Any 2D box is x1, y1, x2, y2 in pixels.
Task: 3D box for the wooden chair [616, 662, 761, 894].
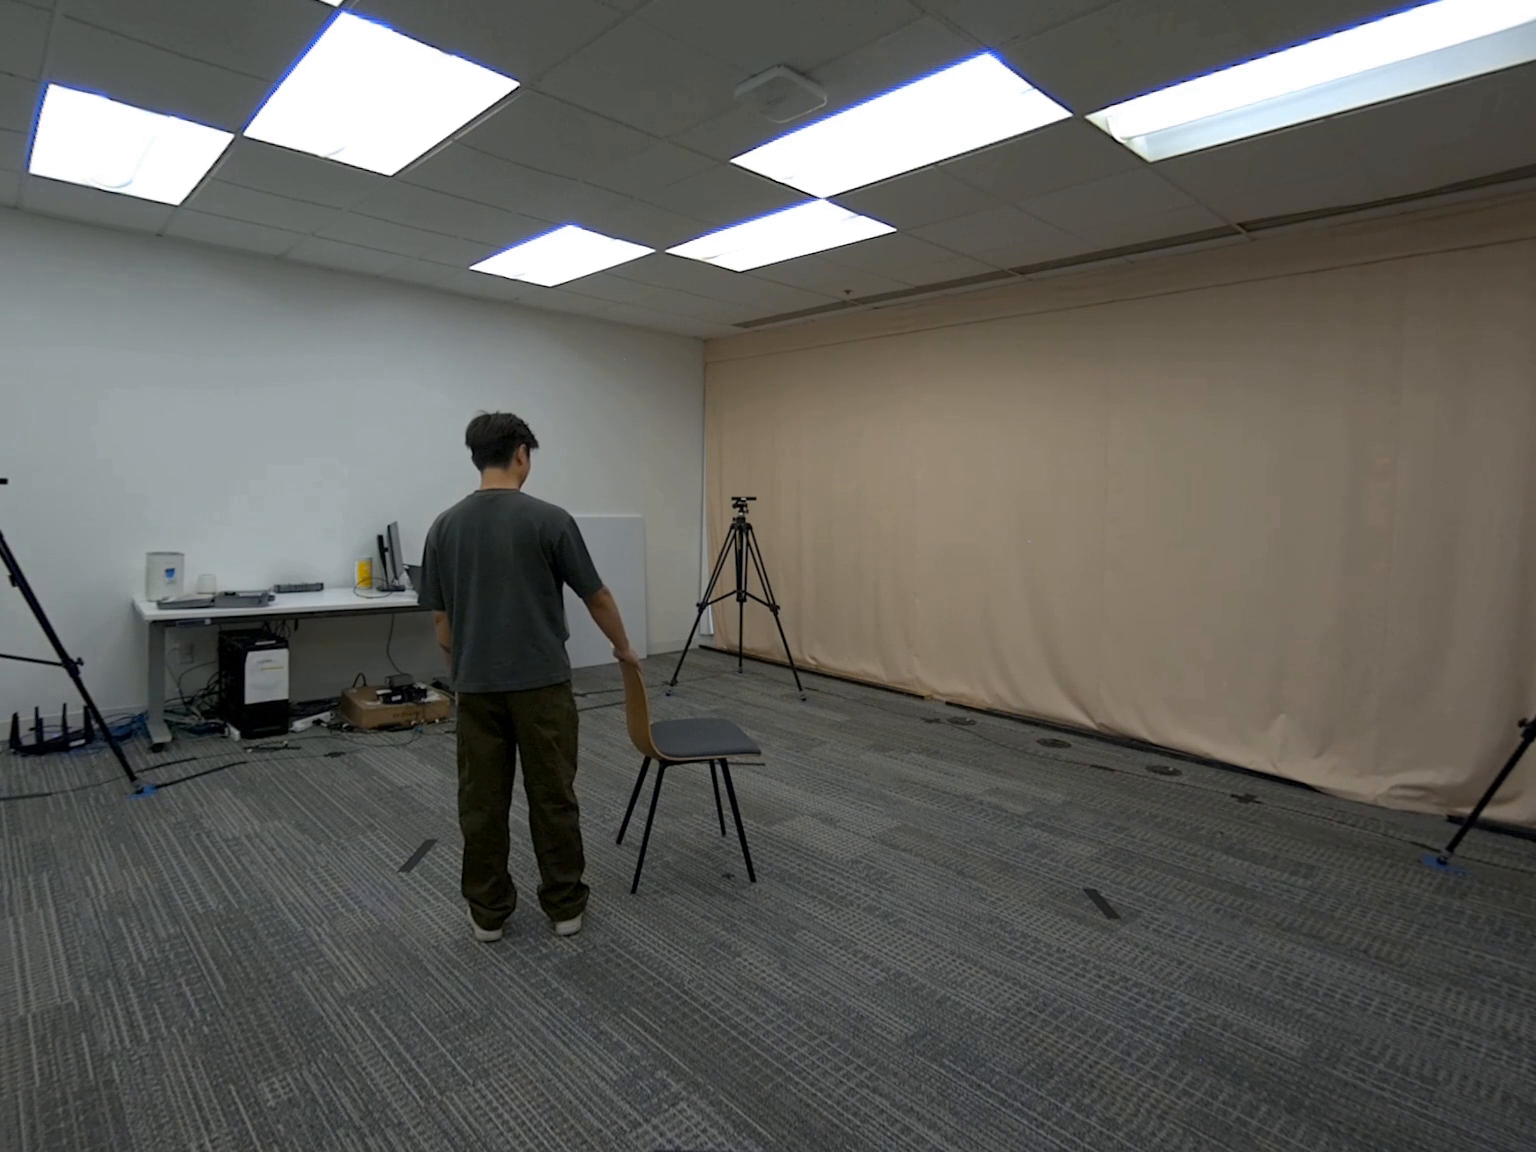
[{"bbox_3d":[-0.314,0.668,3.184,0.517,0.875,0.485,-4,4,-16],"label":"wooden chair"}]
